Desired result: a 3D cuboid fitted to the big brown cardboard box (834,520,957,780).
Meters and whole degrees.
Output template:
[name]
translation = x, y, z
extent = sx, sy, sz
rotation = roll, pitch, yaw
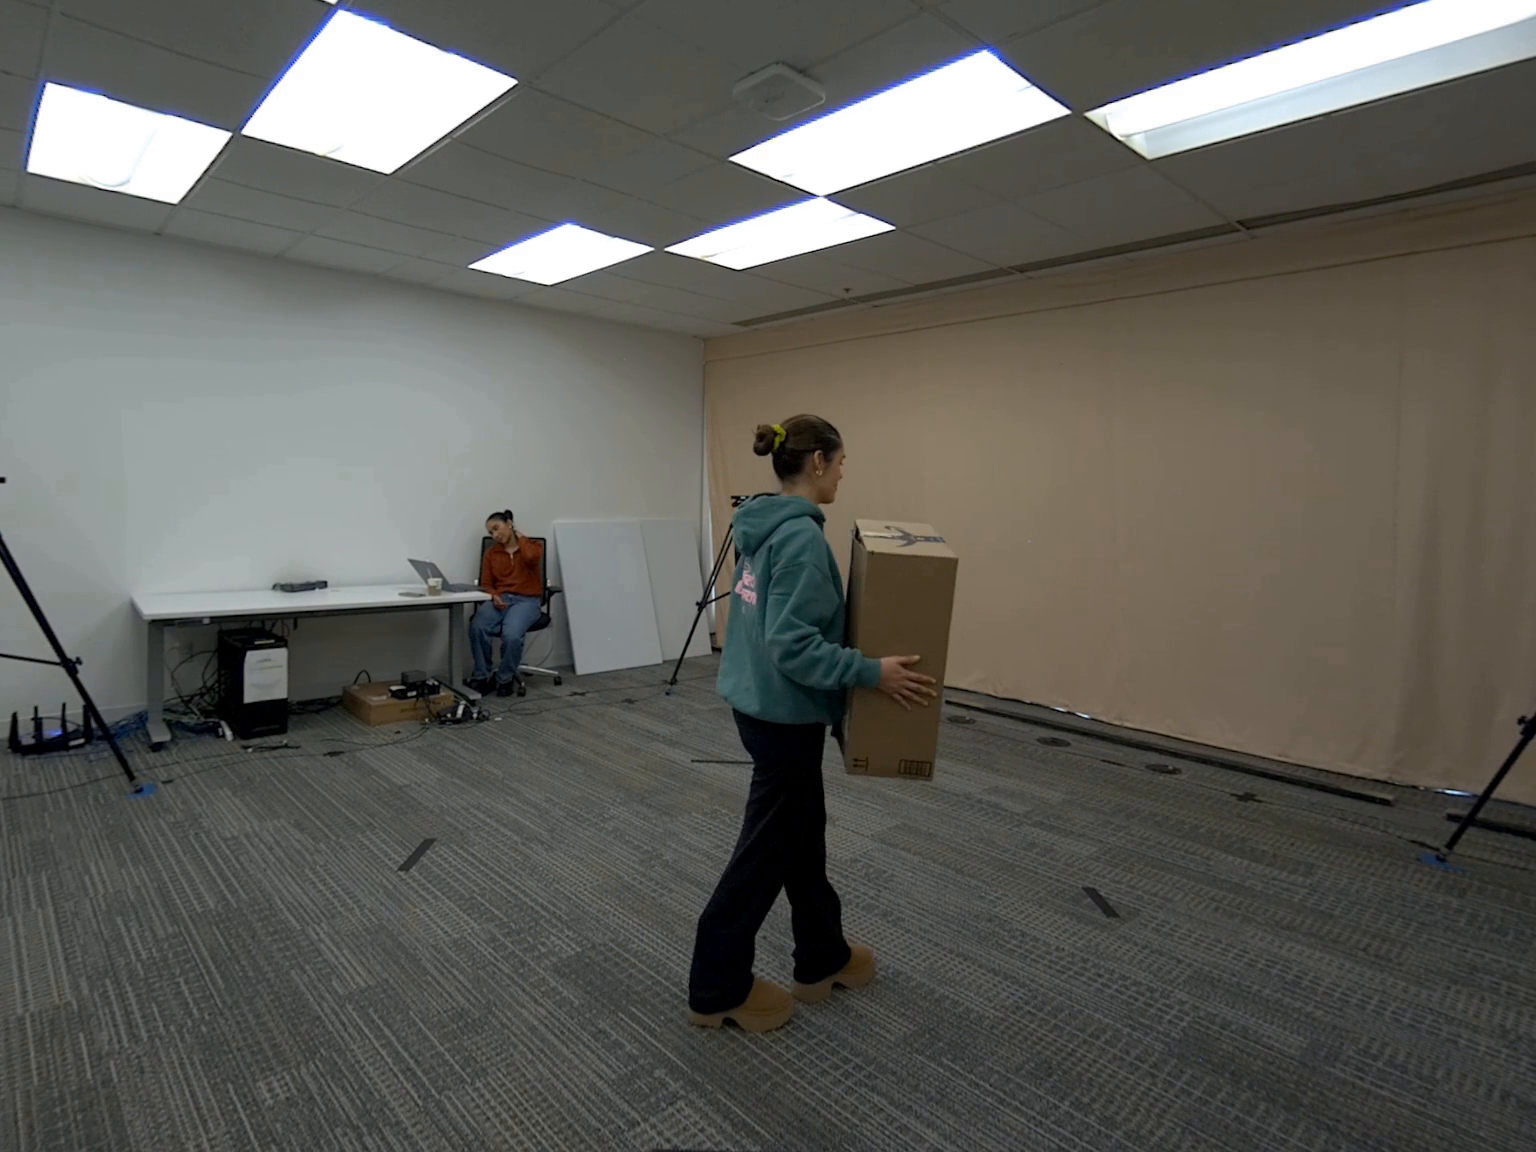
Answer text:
[big brown cardboard box]
translation = 0.318, 0.173, 2.208
extent = 0.233, 0.584, 0.420
rotation = 5, 12, 1
